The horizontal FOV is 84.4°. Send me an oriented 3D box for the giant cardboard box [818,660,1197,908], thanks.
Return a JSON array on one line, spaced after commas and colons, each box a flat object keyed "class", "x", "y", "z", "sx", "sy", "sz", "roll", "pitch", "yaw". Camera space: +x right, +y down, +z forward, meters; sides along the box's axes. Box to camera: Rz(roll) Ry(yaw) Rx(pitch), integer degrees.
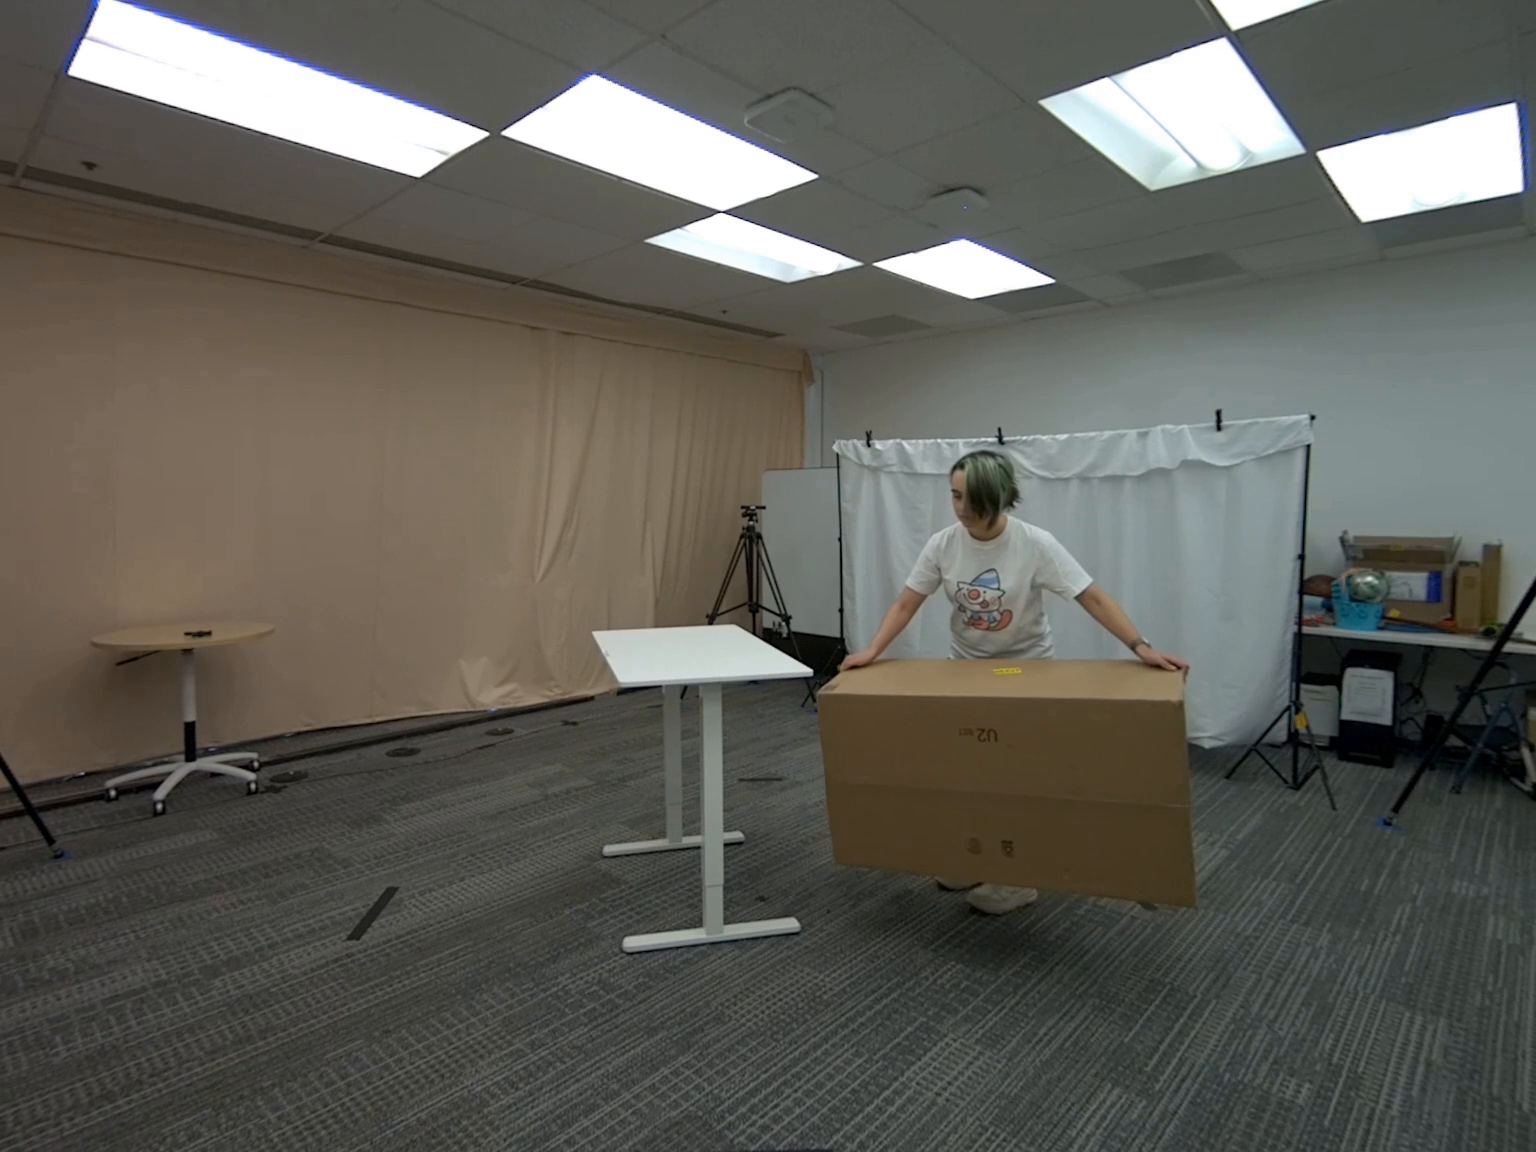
[{"class": "giant cardboard box", "x": 0.736, "y": 0.594, "z": 2.627, "sx": 1.053, "sy": 0.582, "sz": 0.437, "roll": -3, "pitch": 6, "yaw": 27}]
